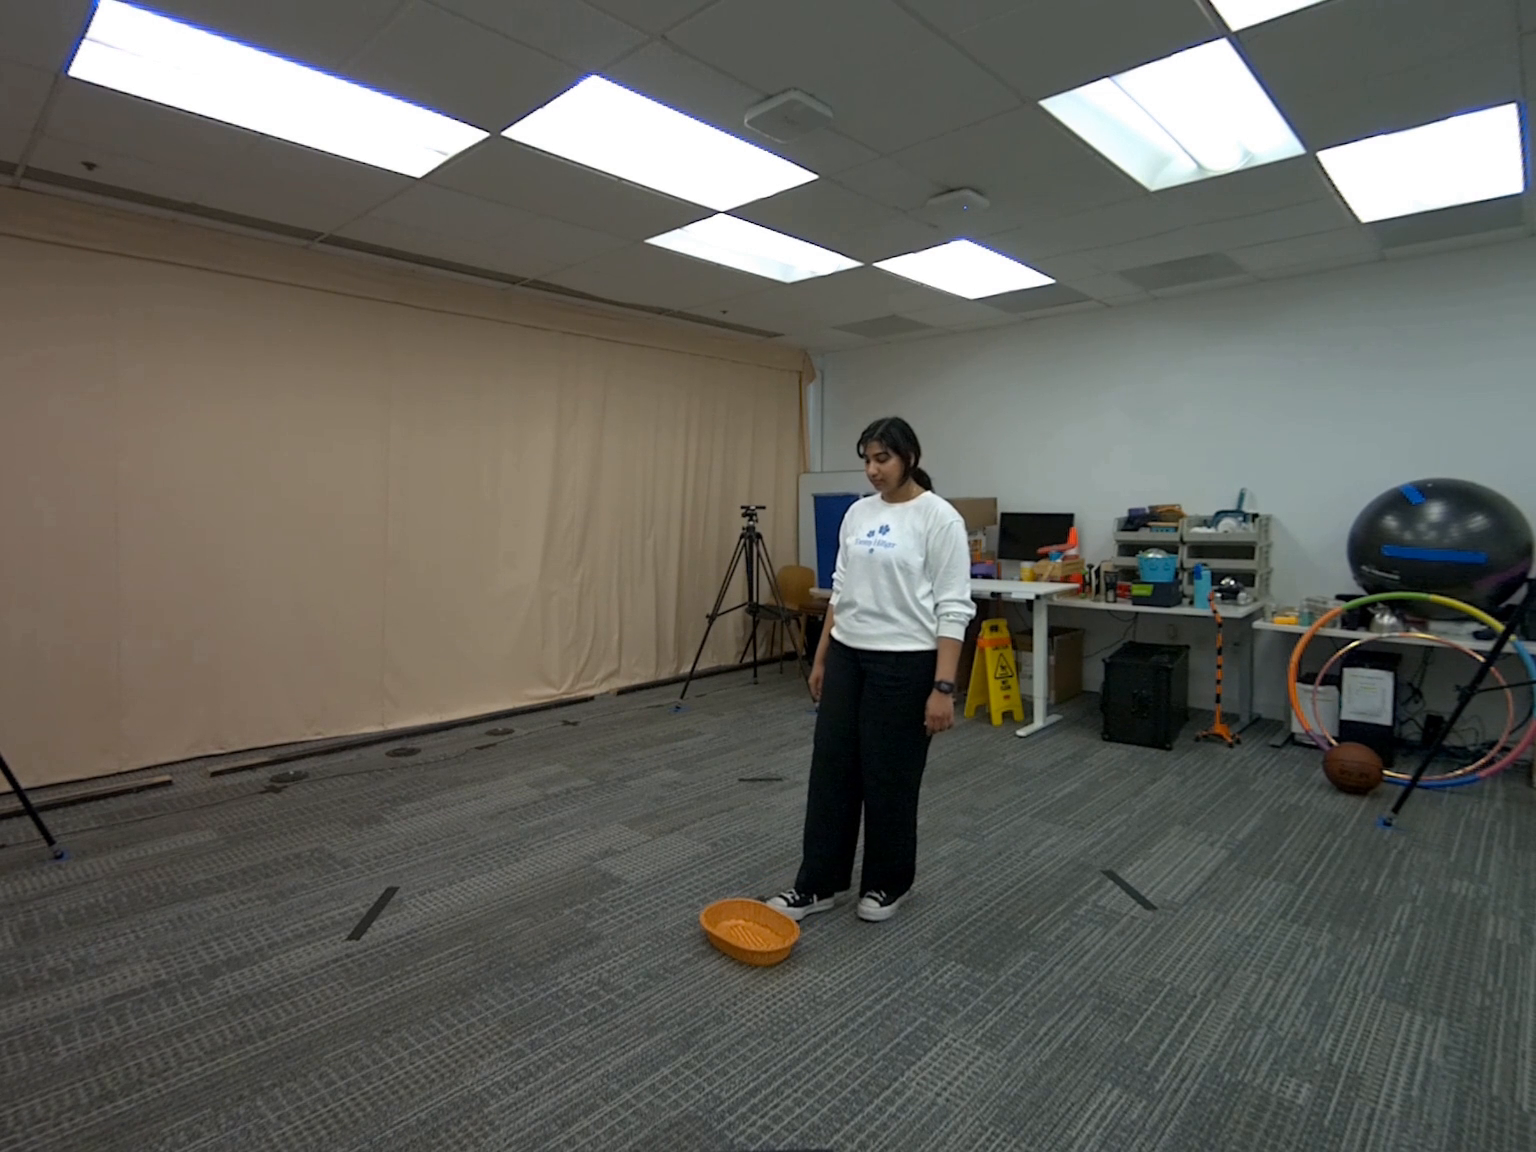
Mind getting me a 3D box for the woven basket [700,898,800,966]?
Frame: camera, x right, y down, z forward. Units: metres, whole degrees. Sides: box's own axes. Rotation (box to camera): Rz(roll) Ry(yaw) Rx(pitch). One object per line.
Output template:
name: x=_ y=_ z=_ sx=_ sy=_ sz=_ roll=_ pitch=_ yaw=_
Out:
woven basket: x=-0.051 y=1.128 z=2.672 sx=0.245 sy=0.073 sz=0.362 roll=-4 pitch=7 yaw=-40
